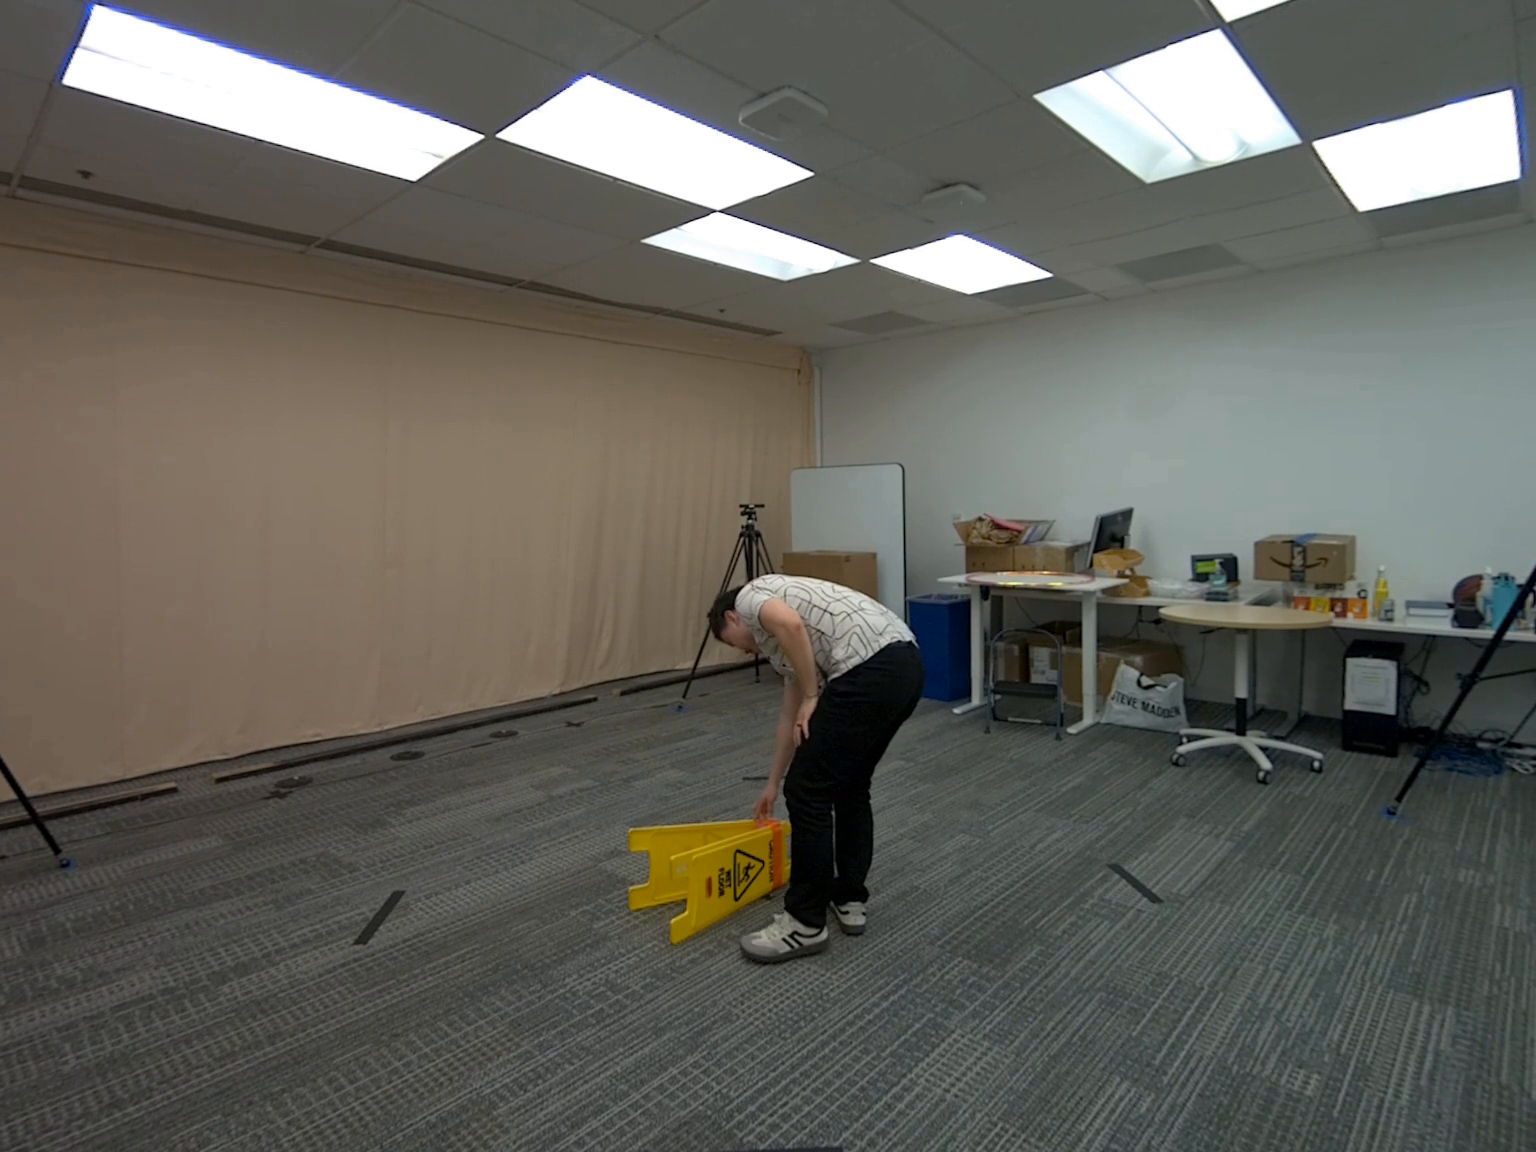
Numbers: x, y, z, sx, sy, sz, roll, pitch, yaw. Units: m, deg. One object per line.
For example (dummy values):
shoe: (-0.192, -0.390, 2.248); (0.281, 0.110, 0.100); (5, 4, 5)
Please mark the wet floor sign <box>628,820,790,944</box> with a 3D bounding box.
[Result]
wet floor sign: (-0.135, 1.012, 2.966); (0.627, 0.282, 0.299); (-2, 4, -35)
